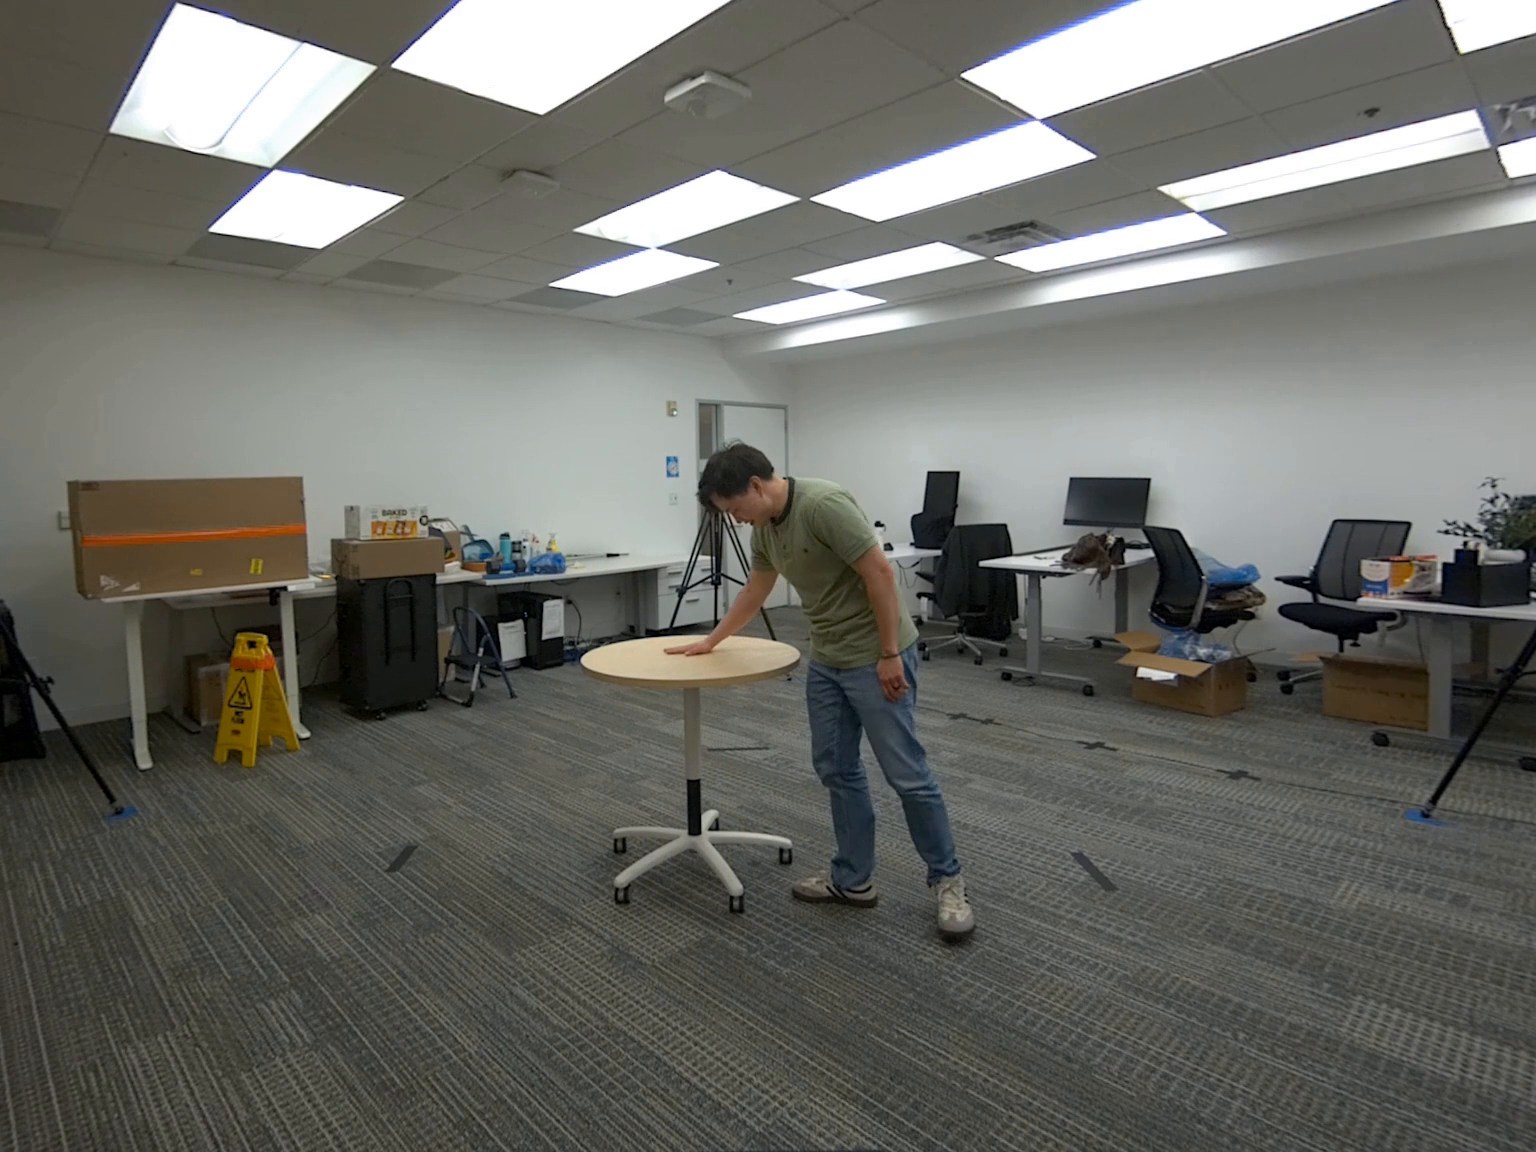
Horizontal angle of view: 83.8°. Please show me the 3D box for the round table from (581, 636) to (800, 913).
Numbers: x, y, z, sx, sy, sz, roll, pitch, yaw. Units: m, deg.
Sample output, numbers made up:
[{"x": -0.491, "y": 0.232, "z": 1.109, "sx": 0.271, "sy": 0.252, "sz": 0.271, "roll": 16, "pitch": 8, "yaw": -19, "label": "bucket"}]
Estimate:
[{"x": -0.263, "y": 0.669, "z": 3.024, "sx": 0.763, "sy": 0.791, "sz": 0.768, "roll": -1, "pitch": 5, "yaw": -2, "label": "round table"}]
